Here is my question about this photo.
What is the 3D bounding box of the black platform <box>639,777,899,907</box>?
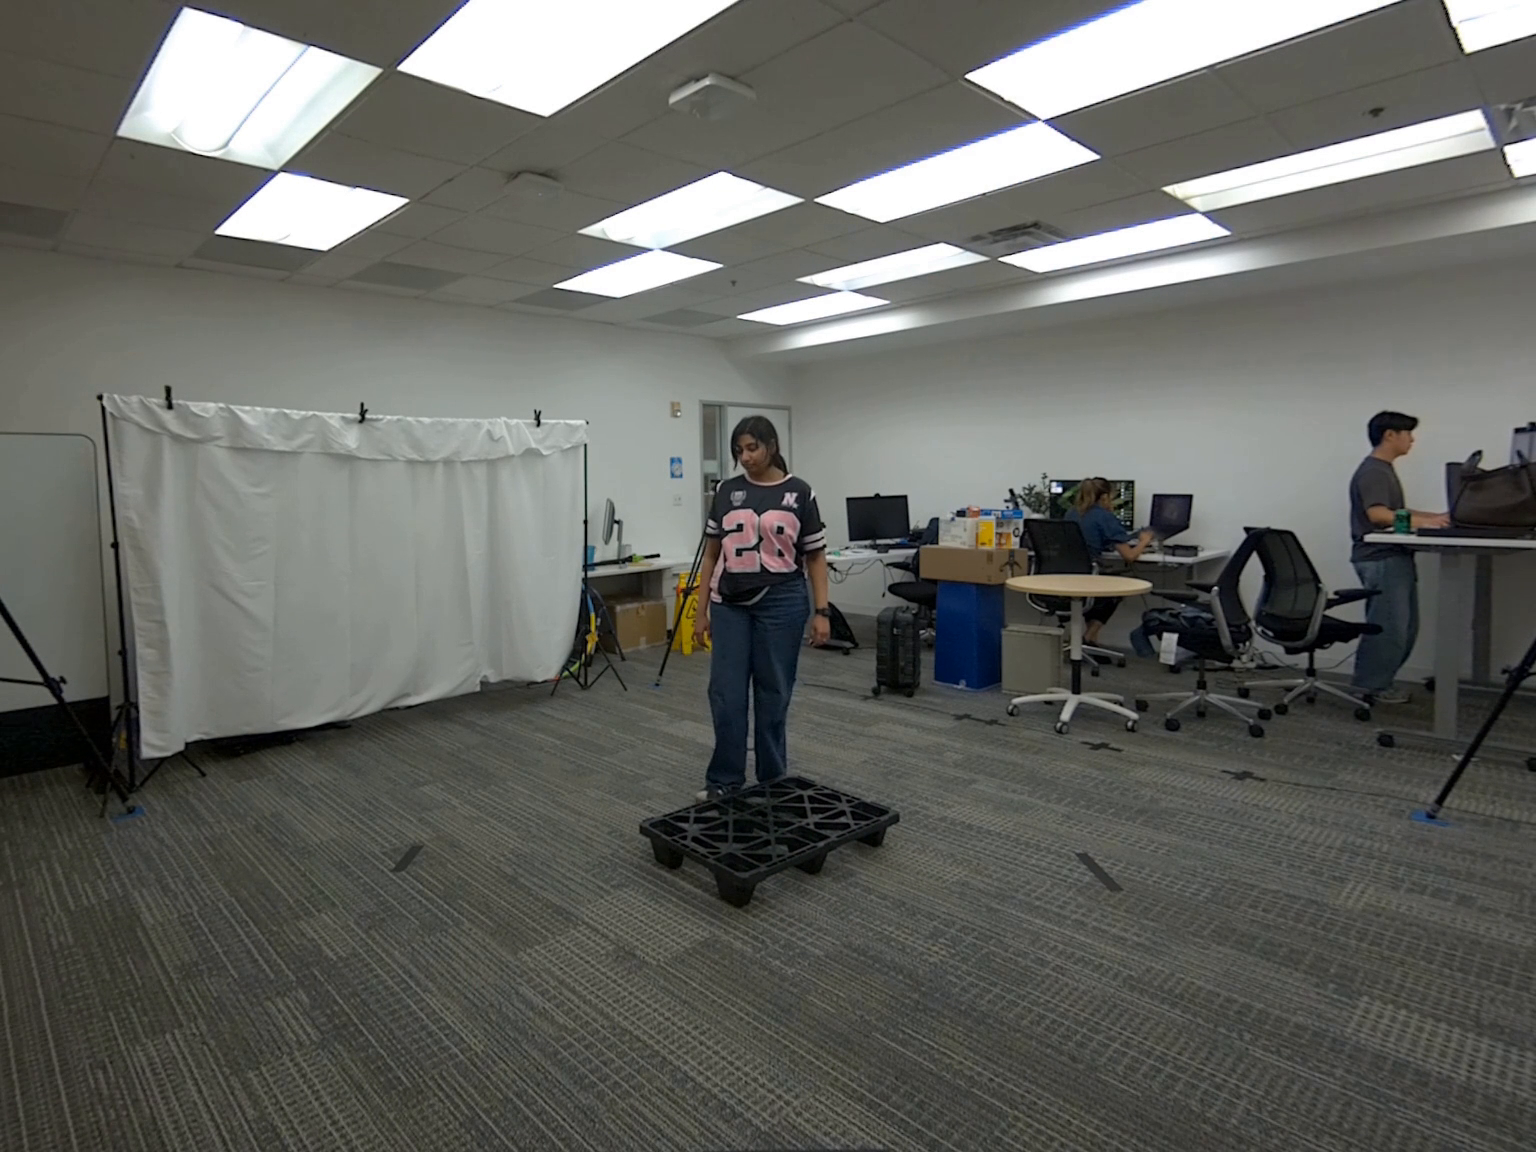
[{"bbox_3d":[0.019,0.971,3.196,0.785,0.142,0.624,-7,9,-41],"label":"black platform"}]
